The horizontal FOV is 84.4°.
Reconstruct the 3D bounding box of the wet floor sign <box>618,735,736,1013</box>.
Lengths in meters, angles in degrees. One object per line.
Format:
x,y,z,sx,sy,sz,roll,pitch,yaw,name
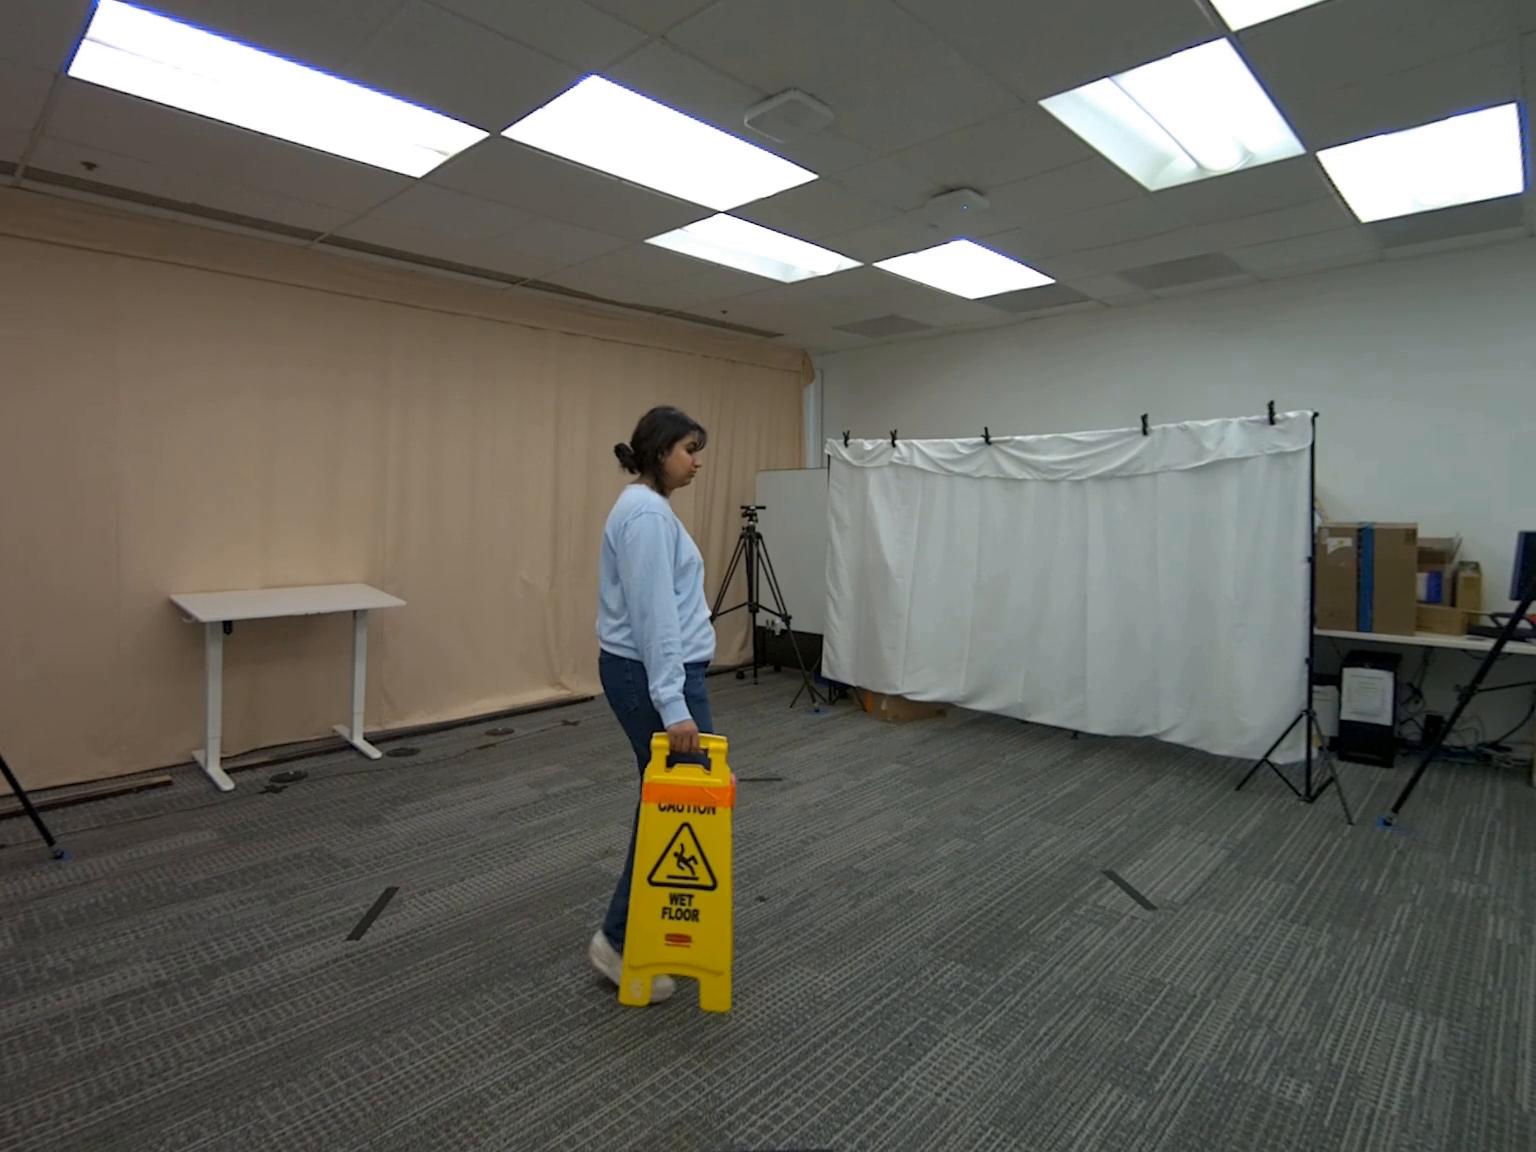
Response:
-0.215,0.743,2.201,0.283,0.646,0.289,4,0,0,wet floor sign
